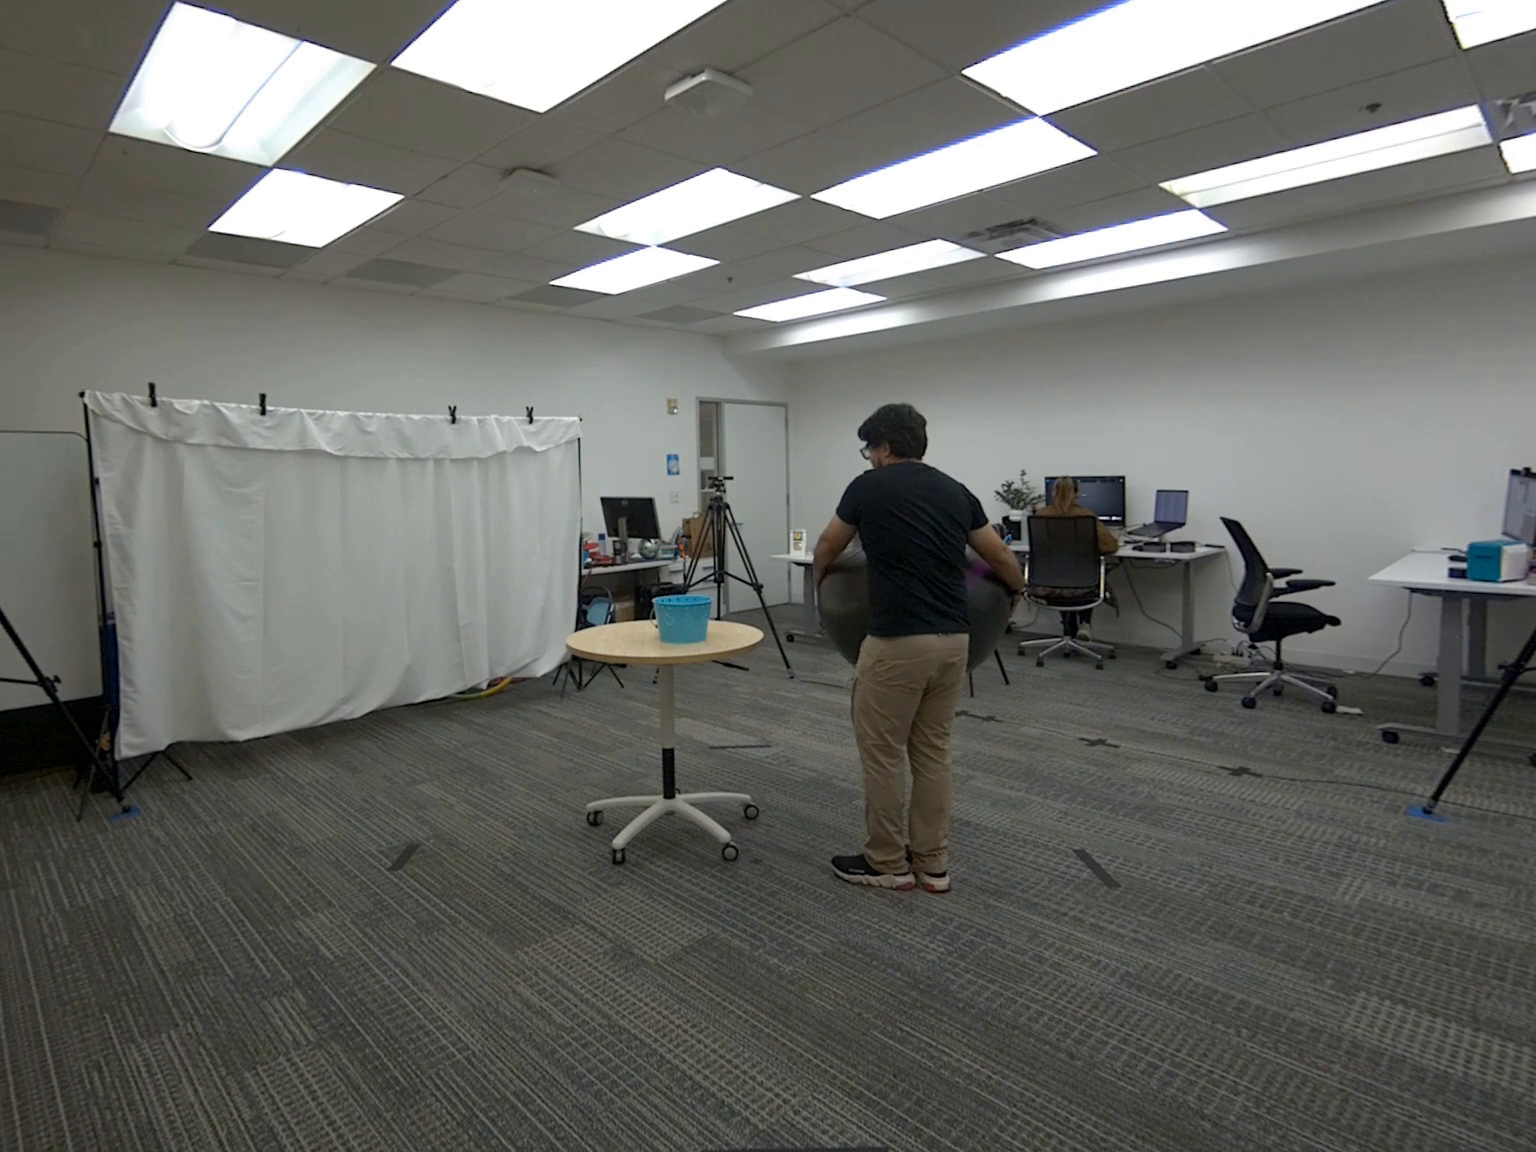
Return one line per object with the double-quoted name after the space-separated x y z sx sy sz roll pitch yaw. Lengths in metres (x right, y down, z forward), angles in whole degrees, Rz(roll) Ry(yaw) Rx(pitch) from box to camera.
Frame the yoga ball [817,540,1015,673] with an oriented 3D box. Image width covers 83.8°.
0.601 0.054 3.360 0.757 0.755 0.762 -1 5 -2 "yoga ball"
